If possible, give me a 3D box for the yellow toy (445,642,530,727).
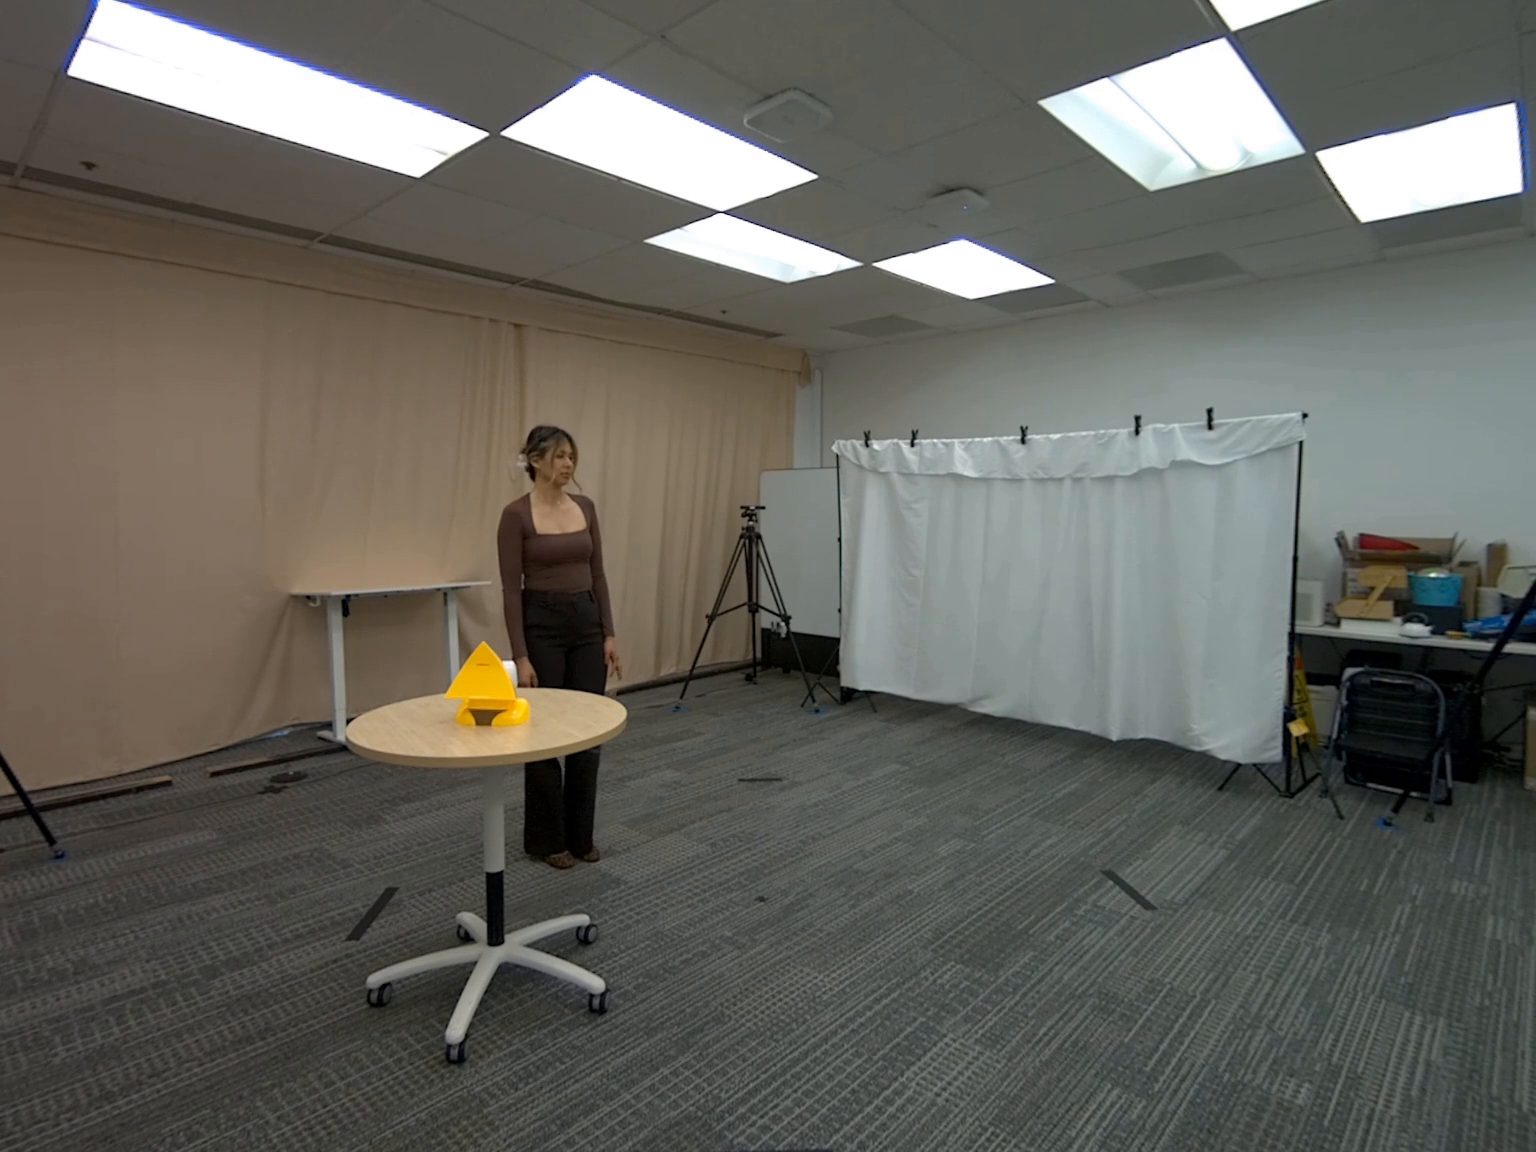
[{"bbox_3d":[-0.778,0.292,2.356,0.206,0.230,0.192,0,3,4],"label":"yellow toy"}]
